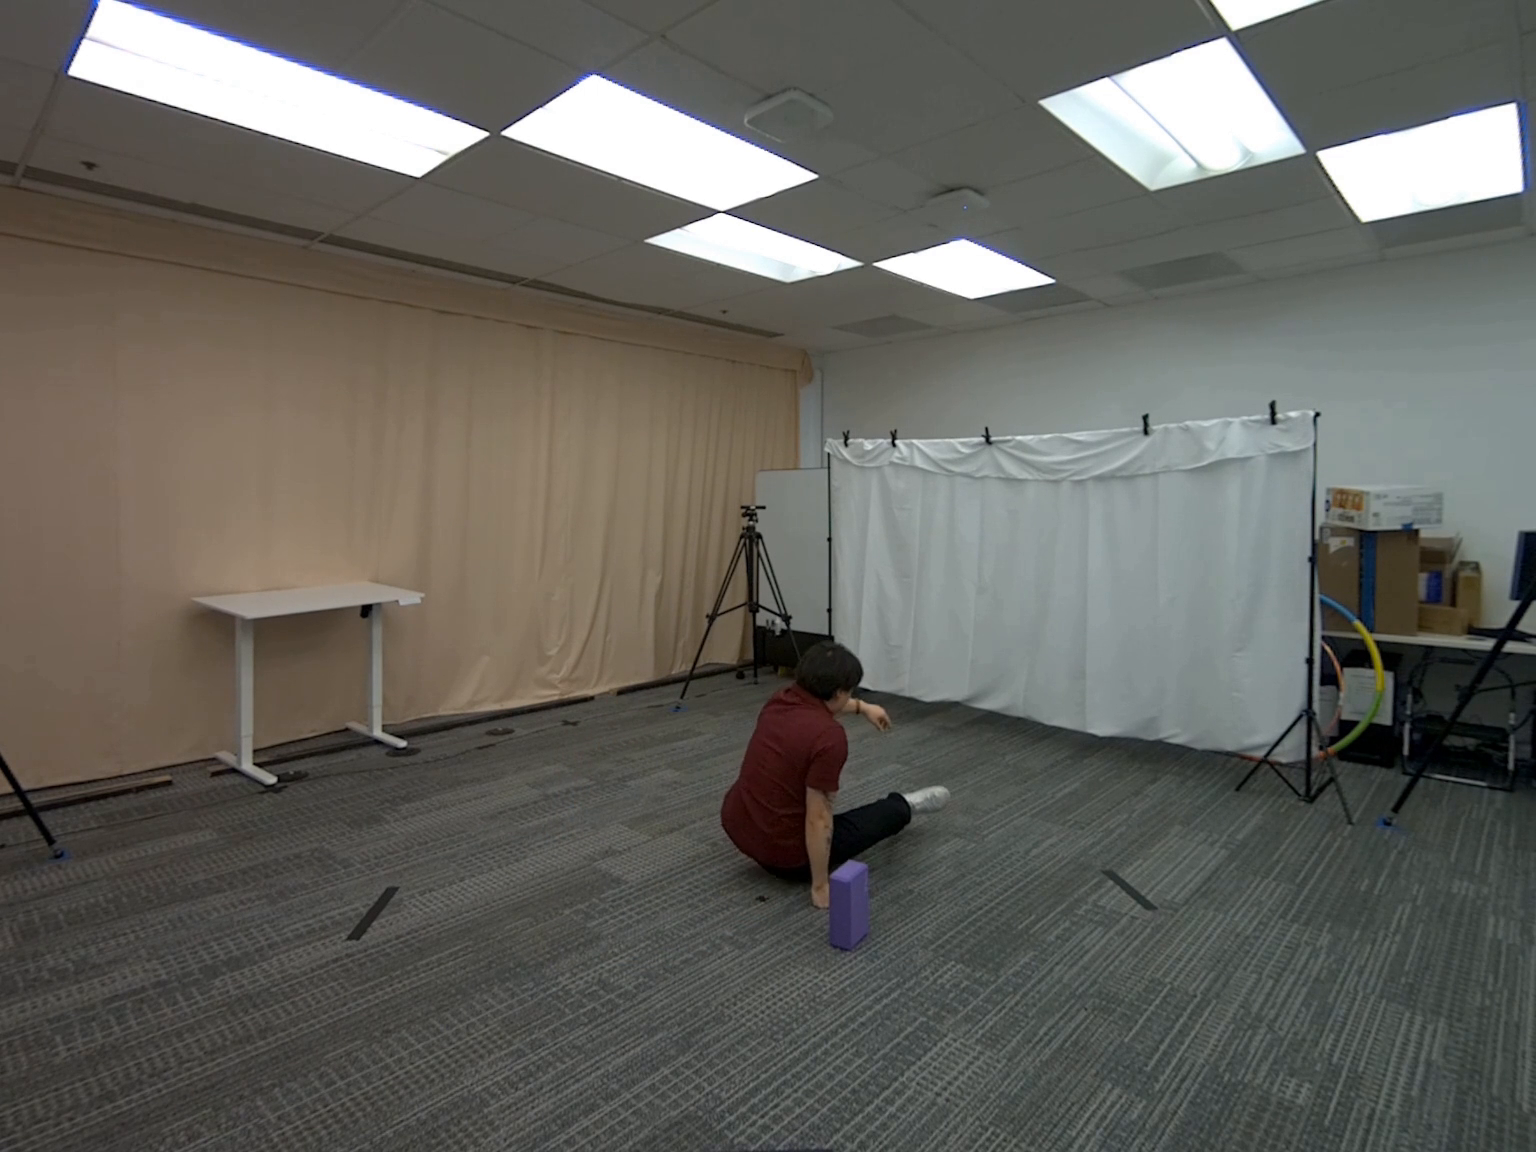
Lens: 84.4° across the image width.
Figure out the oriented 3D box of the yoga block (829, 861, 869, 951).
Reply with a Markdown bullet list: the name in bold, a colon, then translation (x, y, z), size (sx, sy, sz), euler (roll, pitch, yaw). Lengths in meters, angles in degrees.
- **yoga block**: translation (0.262, 1.047, 2.697), size (0.079, 0.229, 0.145), euler (2, 5, 32)
